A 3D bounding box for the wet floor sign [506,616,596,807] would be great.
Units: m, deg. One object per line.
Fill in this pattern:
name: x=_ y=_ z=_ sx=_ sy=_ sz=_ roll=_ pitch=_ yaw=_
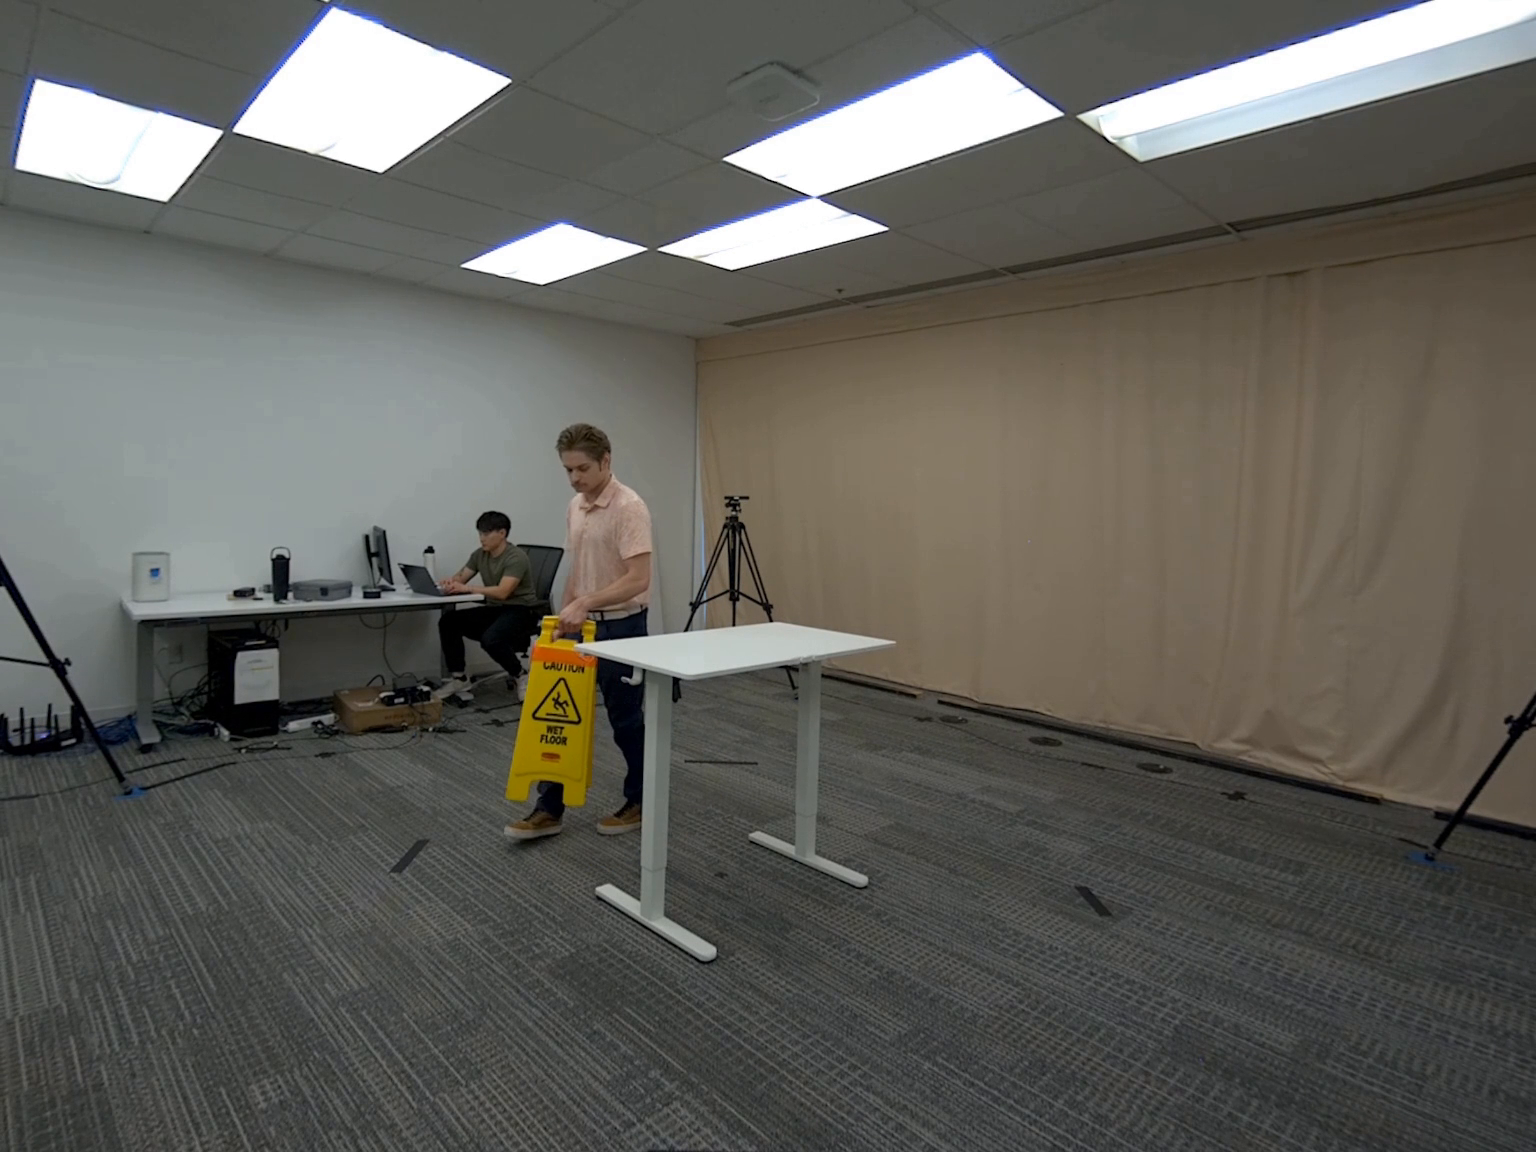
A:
wet floor sign: x=-0.785 y=0.485 z=3.112 sx=0.281 sy=0.646 sz=0.291 roll=7 pitch=0 yaw=-6
